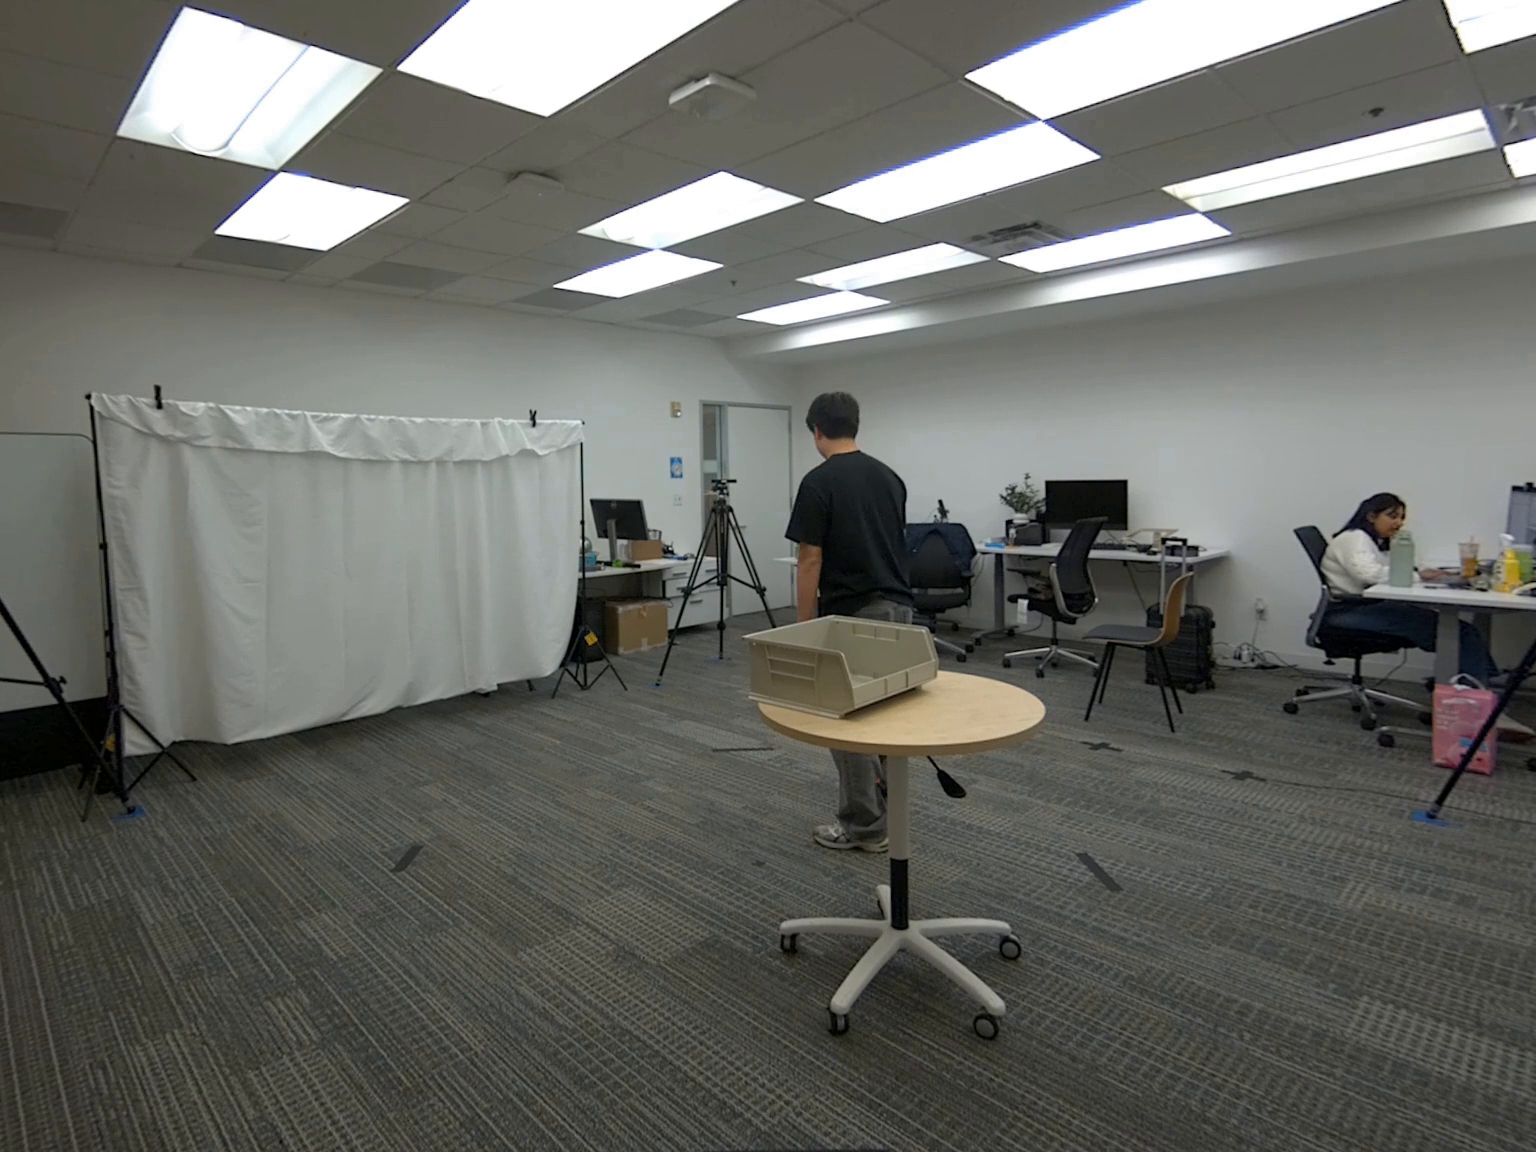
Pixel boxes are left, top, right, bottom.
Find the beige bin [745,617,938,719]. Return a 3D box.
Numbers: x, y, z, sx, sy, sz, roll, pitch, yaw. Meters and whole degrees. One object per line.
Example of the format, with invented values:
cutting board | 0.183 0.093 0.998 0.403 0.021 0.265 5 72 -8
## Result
beige bin | 0.206 0.248 2.421 0.411 0.188 0.389 -7 7 -42
